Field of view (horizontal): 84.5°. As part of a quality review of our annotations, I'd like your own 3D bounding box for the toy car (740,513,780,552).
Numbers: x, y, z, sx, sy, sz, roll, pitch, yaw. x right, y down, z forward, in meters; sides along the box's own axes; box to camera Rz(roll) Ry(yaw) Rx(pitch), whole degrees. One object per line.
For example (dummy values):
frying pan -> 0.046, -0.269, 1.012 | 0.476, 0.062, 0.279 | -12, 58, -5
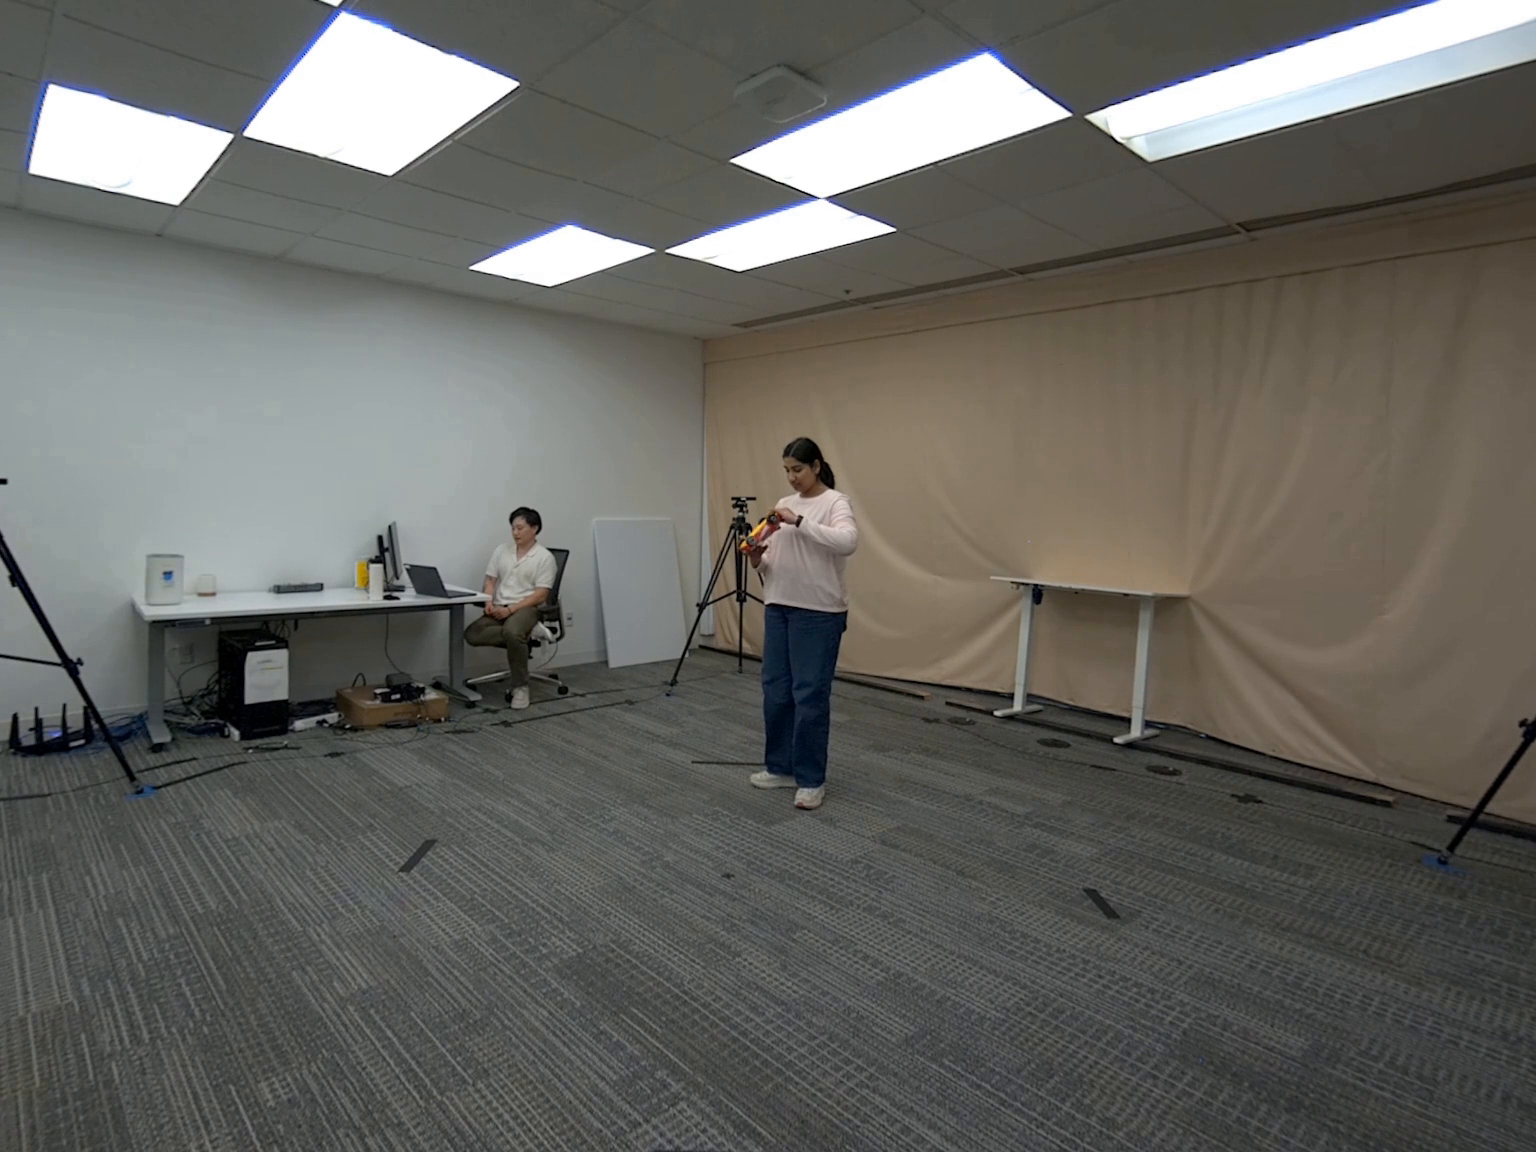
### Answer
toy car -> -0.035, -0.207, 3.761 | 0.253, 0.083, 0.132 | -36, 8, -24
